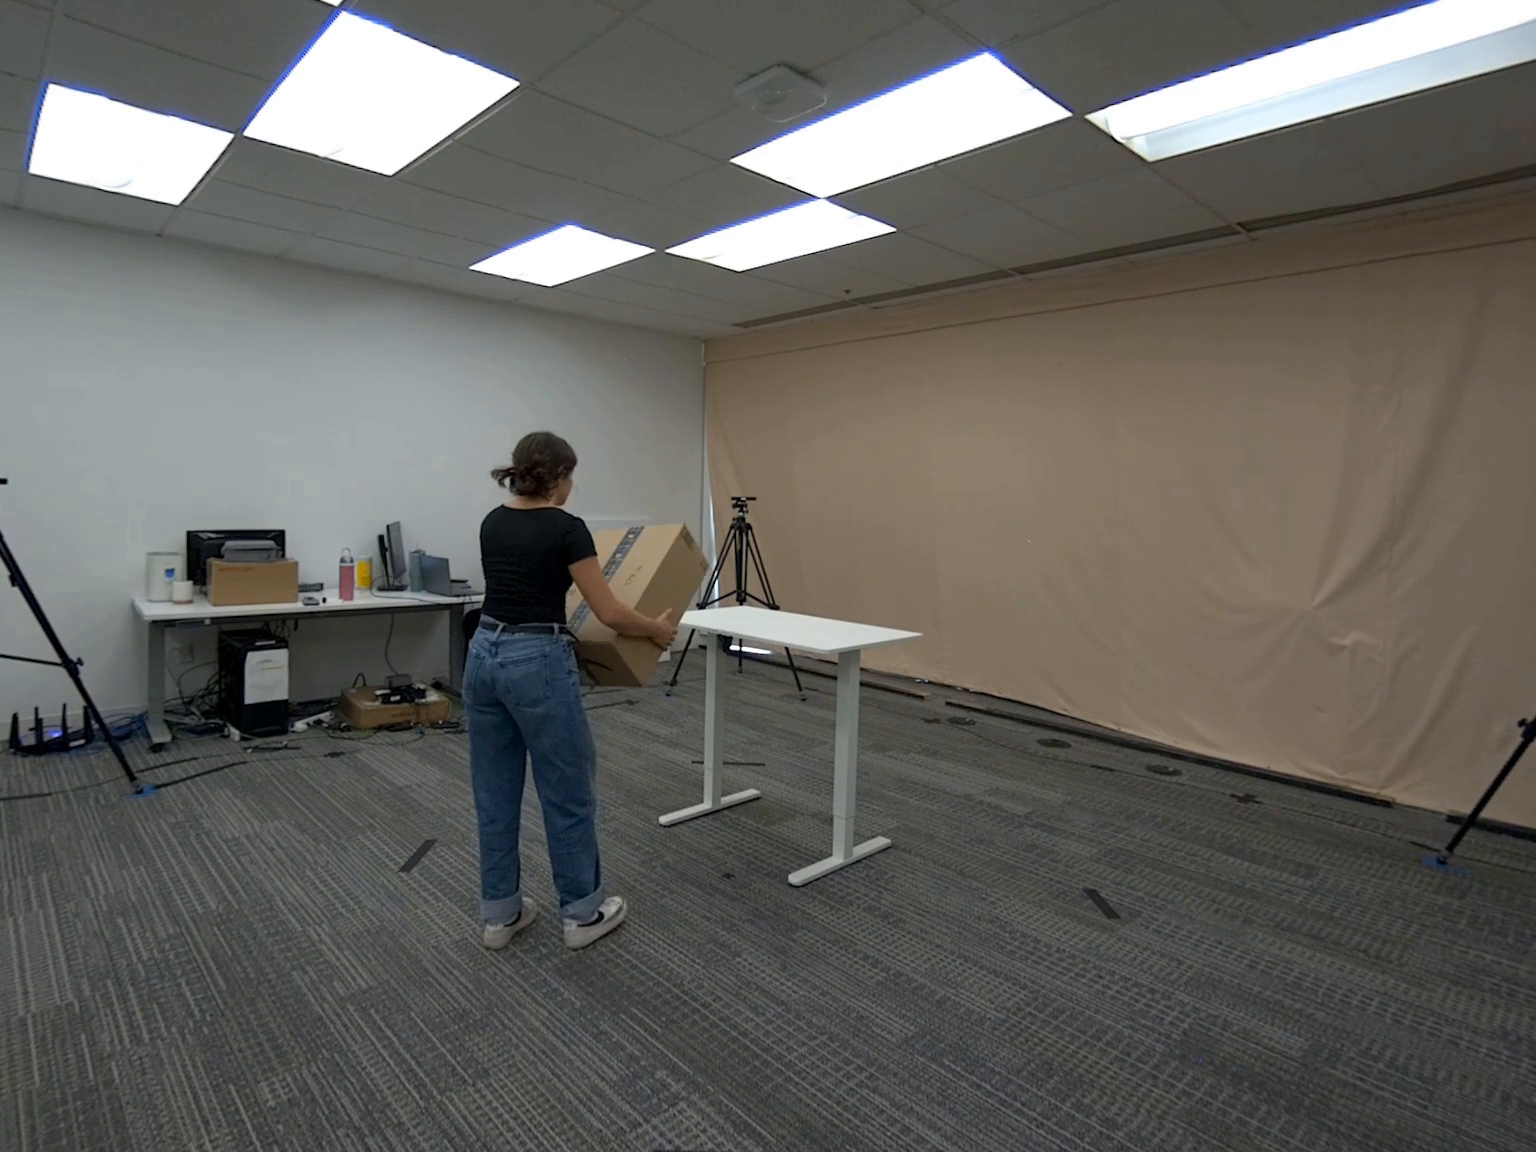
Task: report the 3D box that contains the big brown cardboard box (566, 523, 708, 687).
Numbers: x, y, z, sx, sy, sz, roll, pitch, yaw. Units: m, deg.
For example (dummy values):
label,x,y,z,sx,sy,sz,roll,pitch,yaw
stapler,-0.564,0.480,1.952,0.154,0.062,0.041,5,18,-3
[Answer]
label,x,y,z,sx,sy,sz,roll,pitch,yaw
big brown cardboard box,-0.525,0.097,2.927,0.426,0.227,0.593,-3,41,32
